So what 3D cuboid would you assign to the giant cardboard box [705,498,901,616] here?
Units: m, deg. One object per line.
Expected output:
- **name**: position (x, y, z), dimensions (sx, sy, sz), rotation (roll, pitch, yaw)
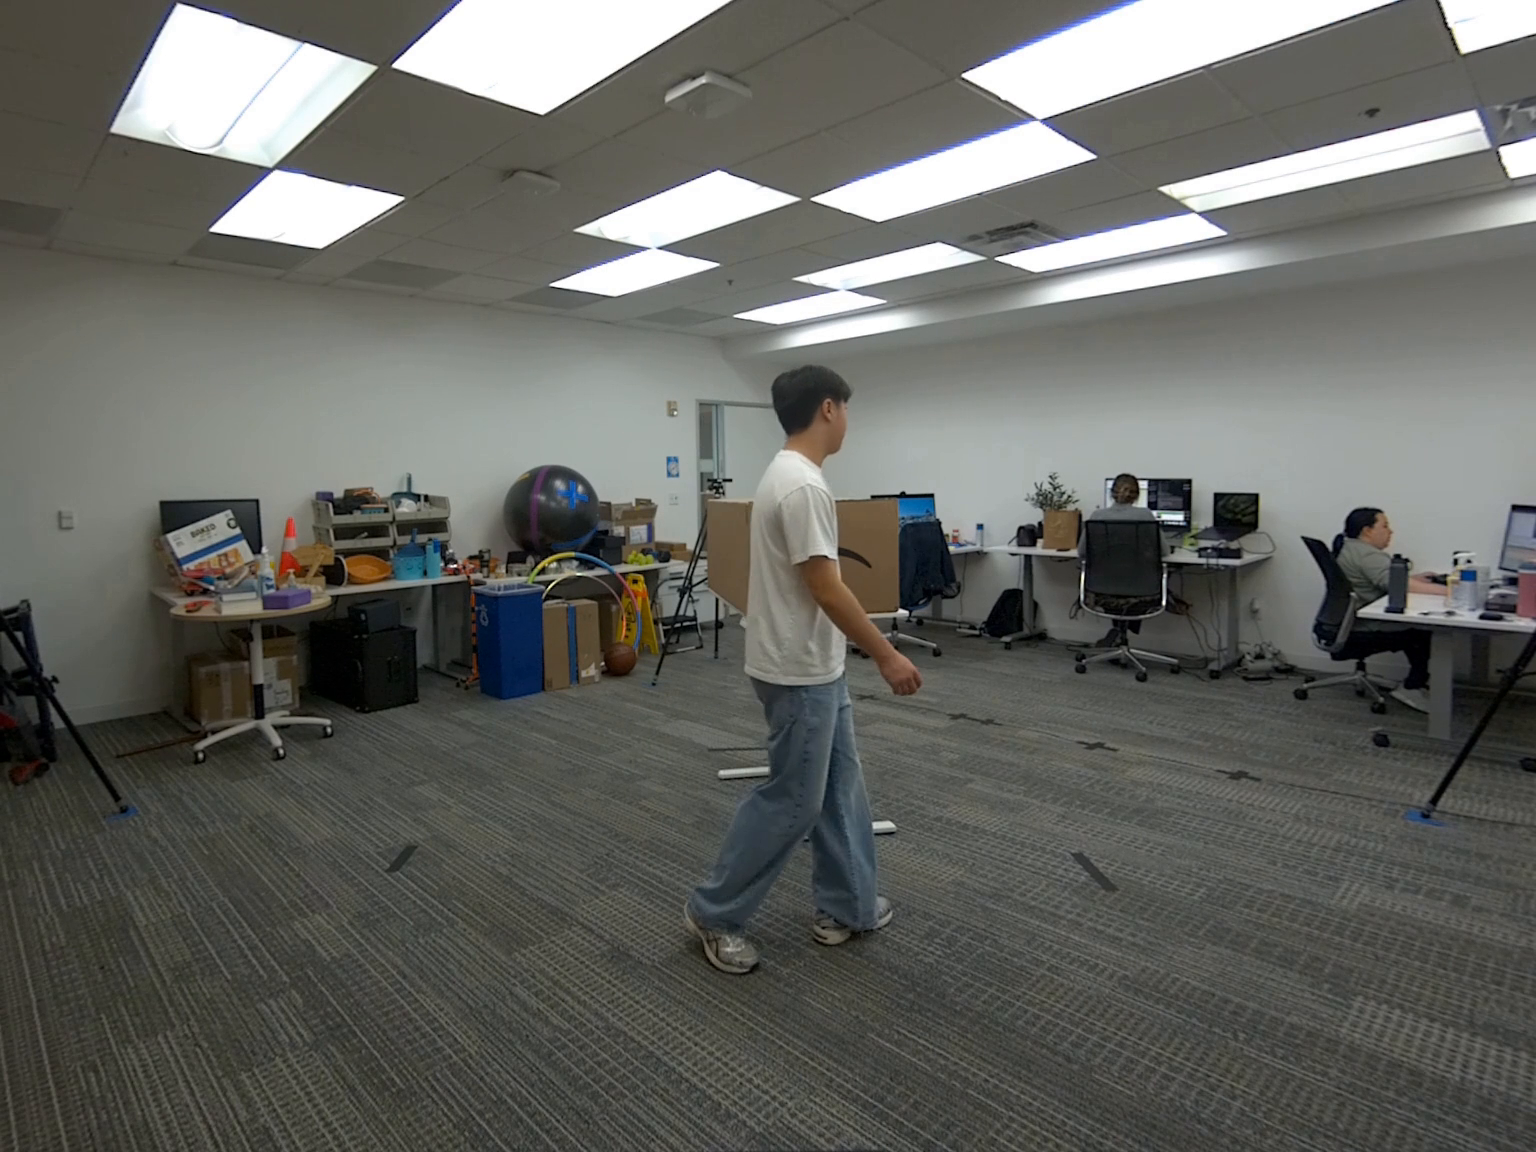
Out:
- **giant cardboard box**: position (0.104, -0.112, 3.649), dimensions (0.572, 0.424, 1.040), rotation (-3, 5, -11)
